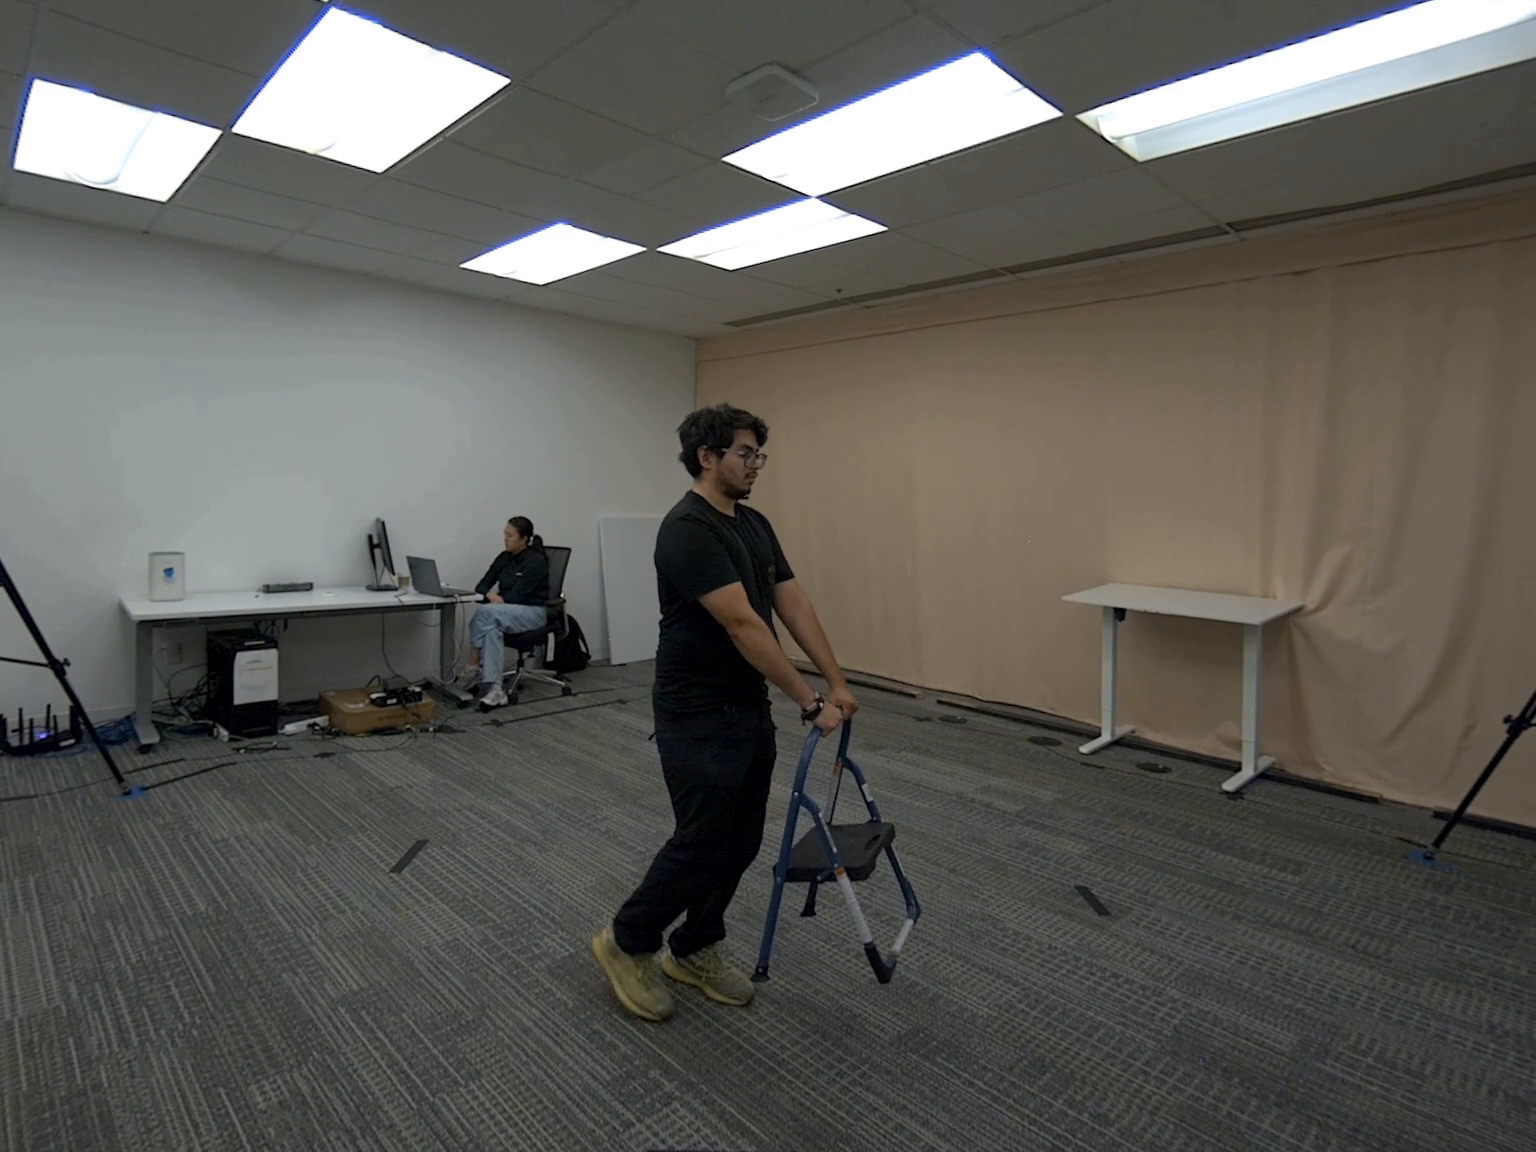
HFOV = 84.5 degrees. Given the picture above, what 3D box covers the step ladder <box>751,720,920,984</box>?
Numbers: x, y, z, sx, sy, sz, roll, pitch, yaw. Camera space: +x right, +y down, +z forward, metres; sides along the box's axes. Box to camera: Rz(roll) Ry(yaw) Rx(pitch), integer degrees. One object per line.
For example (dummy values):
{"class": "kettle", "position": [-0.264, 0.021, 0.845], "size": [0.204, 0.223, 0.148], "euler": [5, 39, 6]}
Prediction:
{"class": "step ladder", "position": [0.137, 0.666, 2.203], "size": [0.354, 0.608, 0.423], "euler": [-11, -4, 21]}
